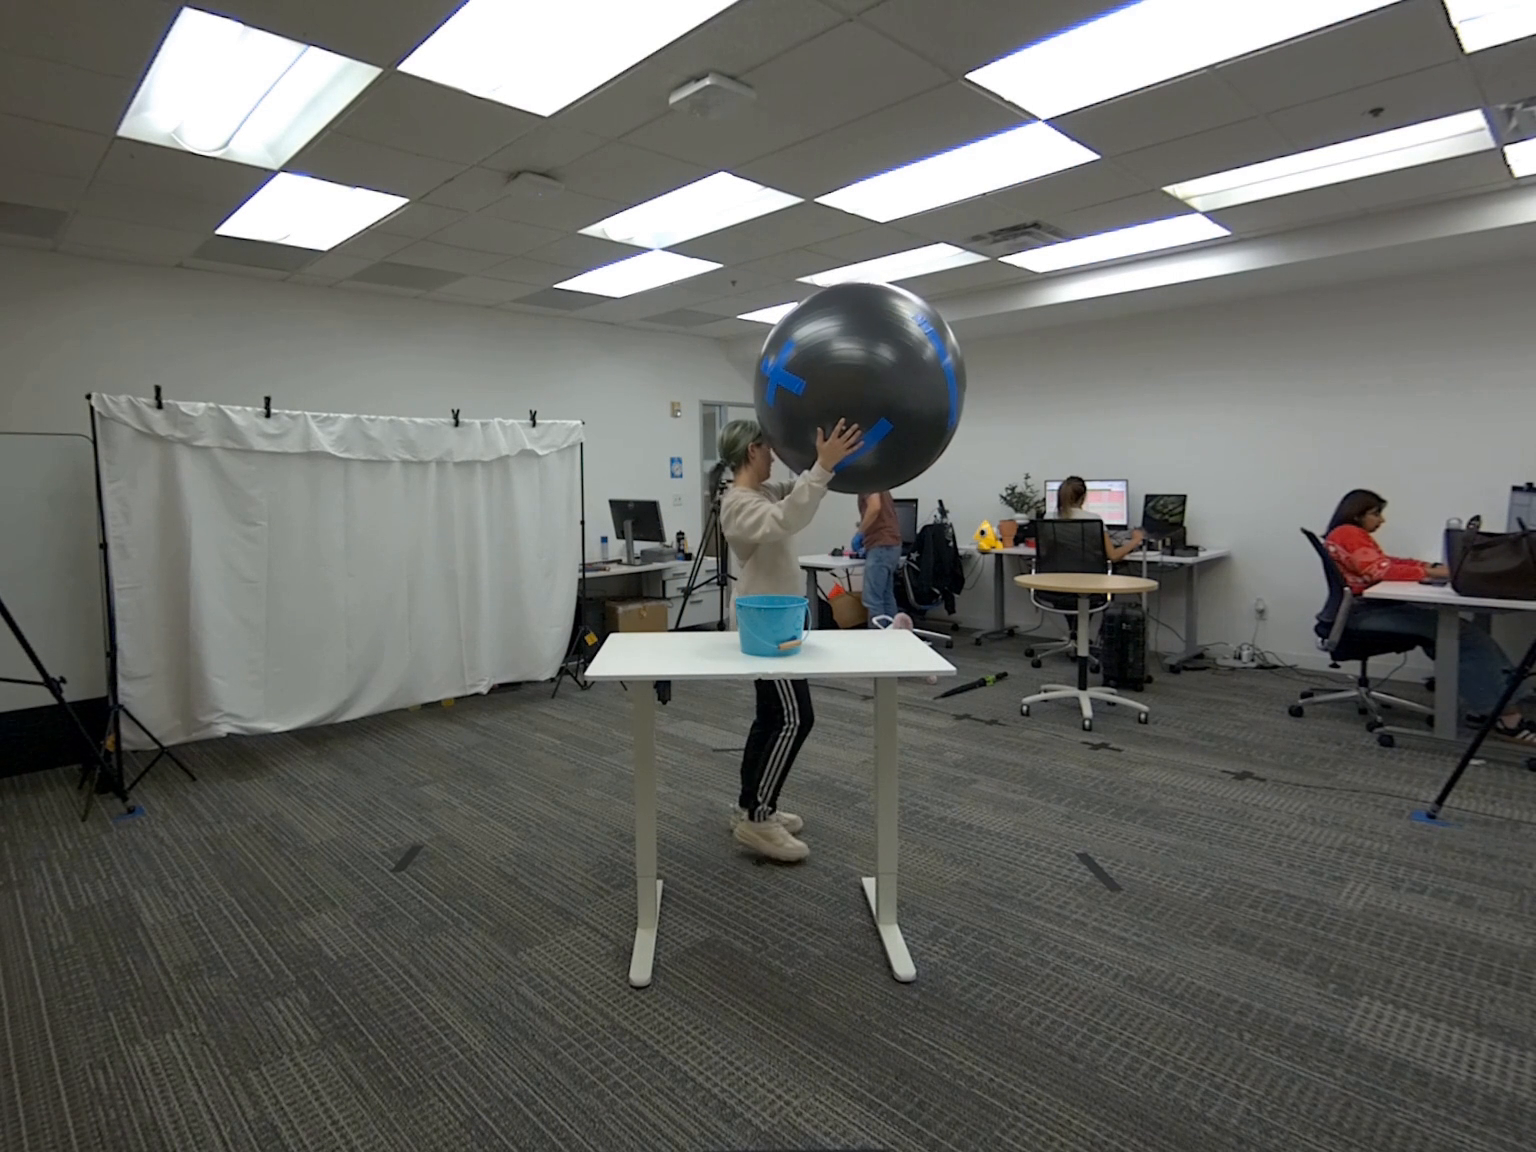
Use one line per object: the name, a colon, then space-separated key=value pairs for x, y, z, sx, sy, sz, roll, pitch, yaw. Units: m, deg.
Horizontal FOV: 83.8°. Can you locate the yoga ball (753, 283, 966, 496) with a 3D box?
yoga ball: x=0.327 y=-0.669 z=3.095 sx=0.757 sy=0.755 sz=0.762 roll=-1 pitch=5 yaw=-2
